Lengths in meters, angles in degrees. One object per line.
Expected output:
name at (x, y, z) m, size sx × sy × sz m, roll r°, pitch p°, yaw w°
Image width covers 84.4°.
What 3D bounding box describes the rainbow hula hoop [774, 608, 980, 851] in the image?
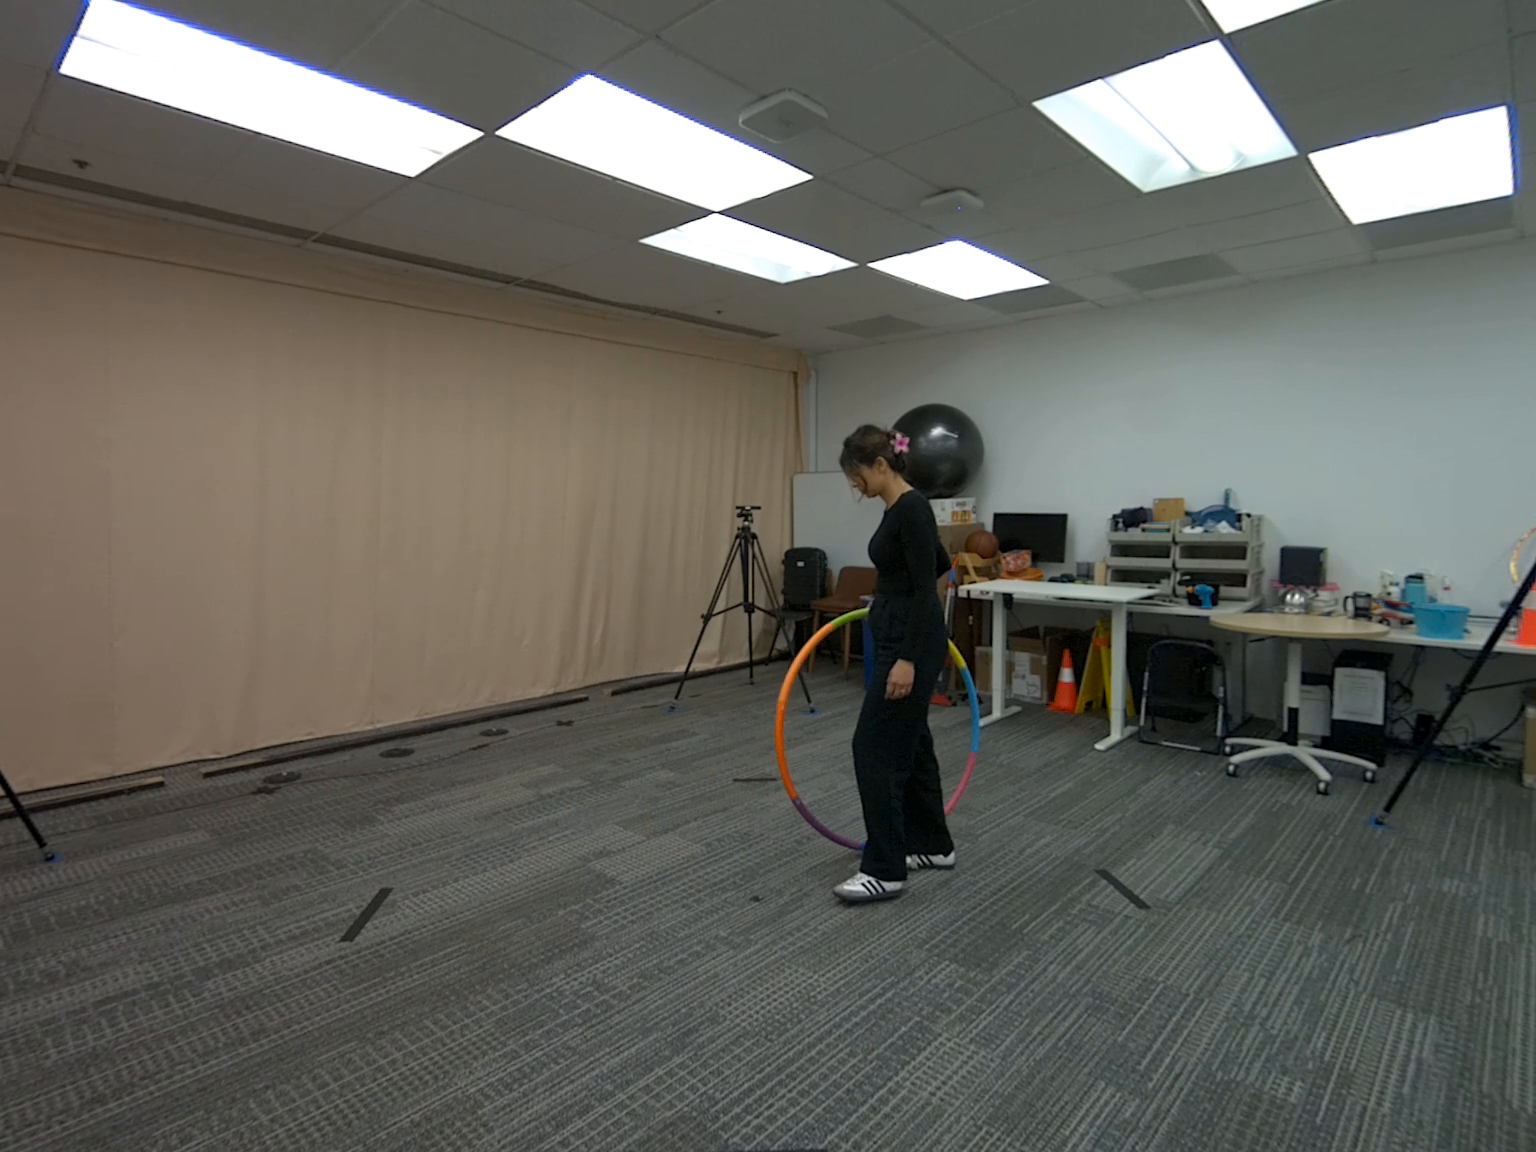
rainbow hula hoop at (0.459, 0.622, 3.420) m, size 0.956 × 0.980 × 0.036 m, roll -2°, pitch -2°, yaw -24°
